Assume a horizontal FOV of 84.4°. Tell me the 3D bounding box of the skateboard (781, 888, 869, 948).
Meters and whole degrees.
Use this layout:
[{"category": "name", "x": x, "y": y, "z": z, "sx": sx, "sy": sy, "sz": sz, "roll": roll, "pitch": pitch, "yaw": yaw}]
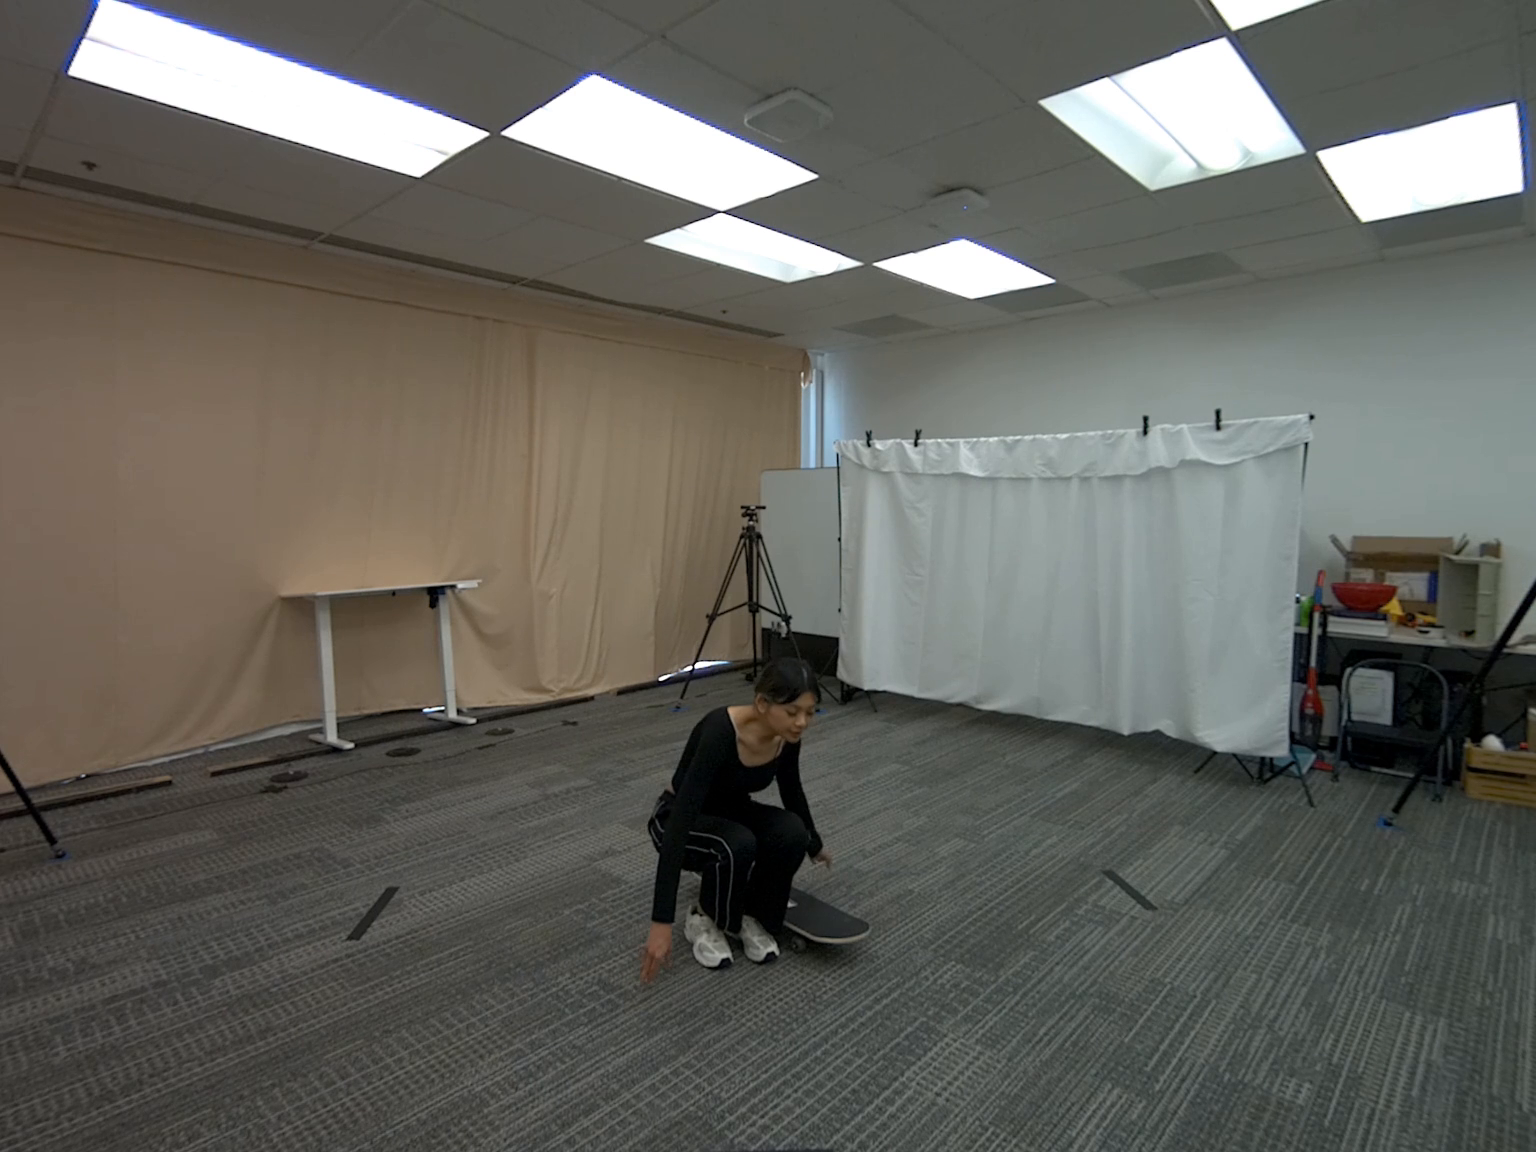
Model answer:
[{"category": "skateboard", "x": 0.024, "y": 1.095, "z": 2.823, "sx": 0.187, "sy": 0.110, "sz": 0.812, "roll": -3, "pitch": 5, "yaw": -42}]
